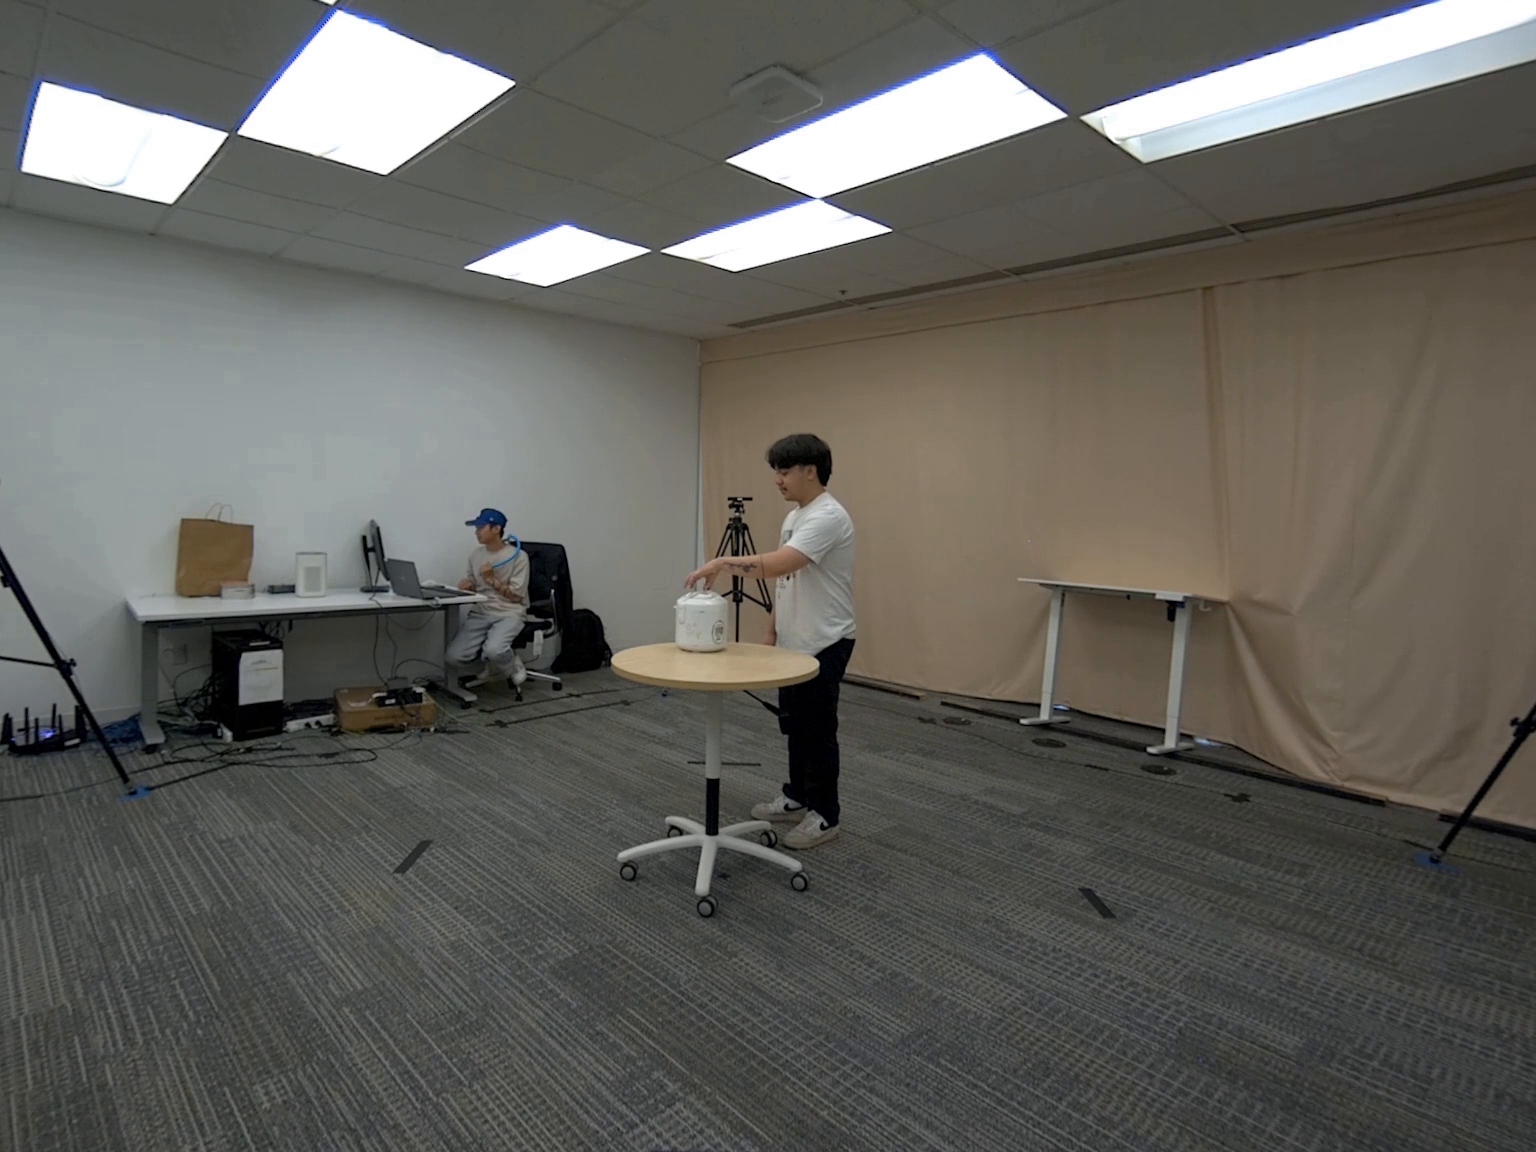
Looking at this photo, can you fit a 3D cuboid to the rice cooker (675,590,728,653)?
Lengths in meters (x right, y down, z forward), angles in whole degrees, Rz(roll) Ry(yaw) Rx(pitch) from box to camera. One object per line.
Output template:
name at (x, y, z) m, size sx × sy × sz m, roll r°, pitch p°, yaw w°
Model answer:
rice cooker at (-0.266, 0.169, 3.318) m, size 0.216 × 0.232 × 0.223 m, roll -3°, pitch 6°, yaw -41°
